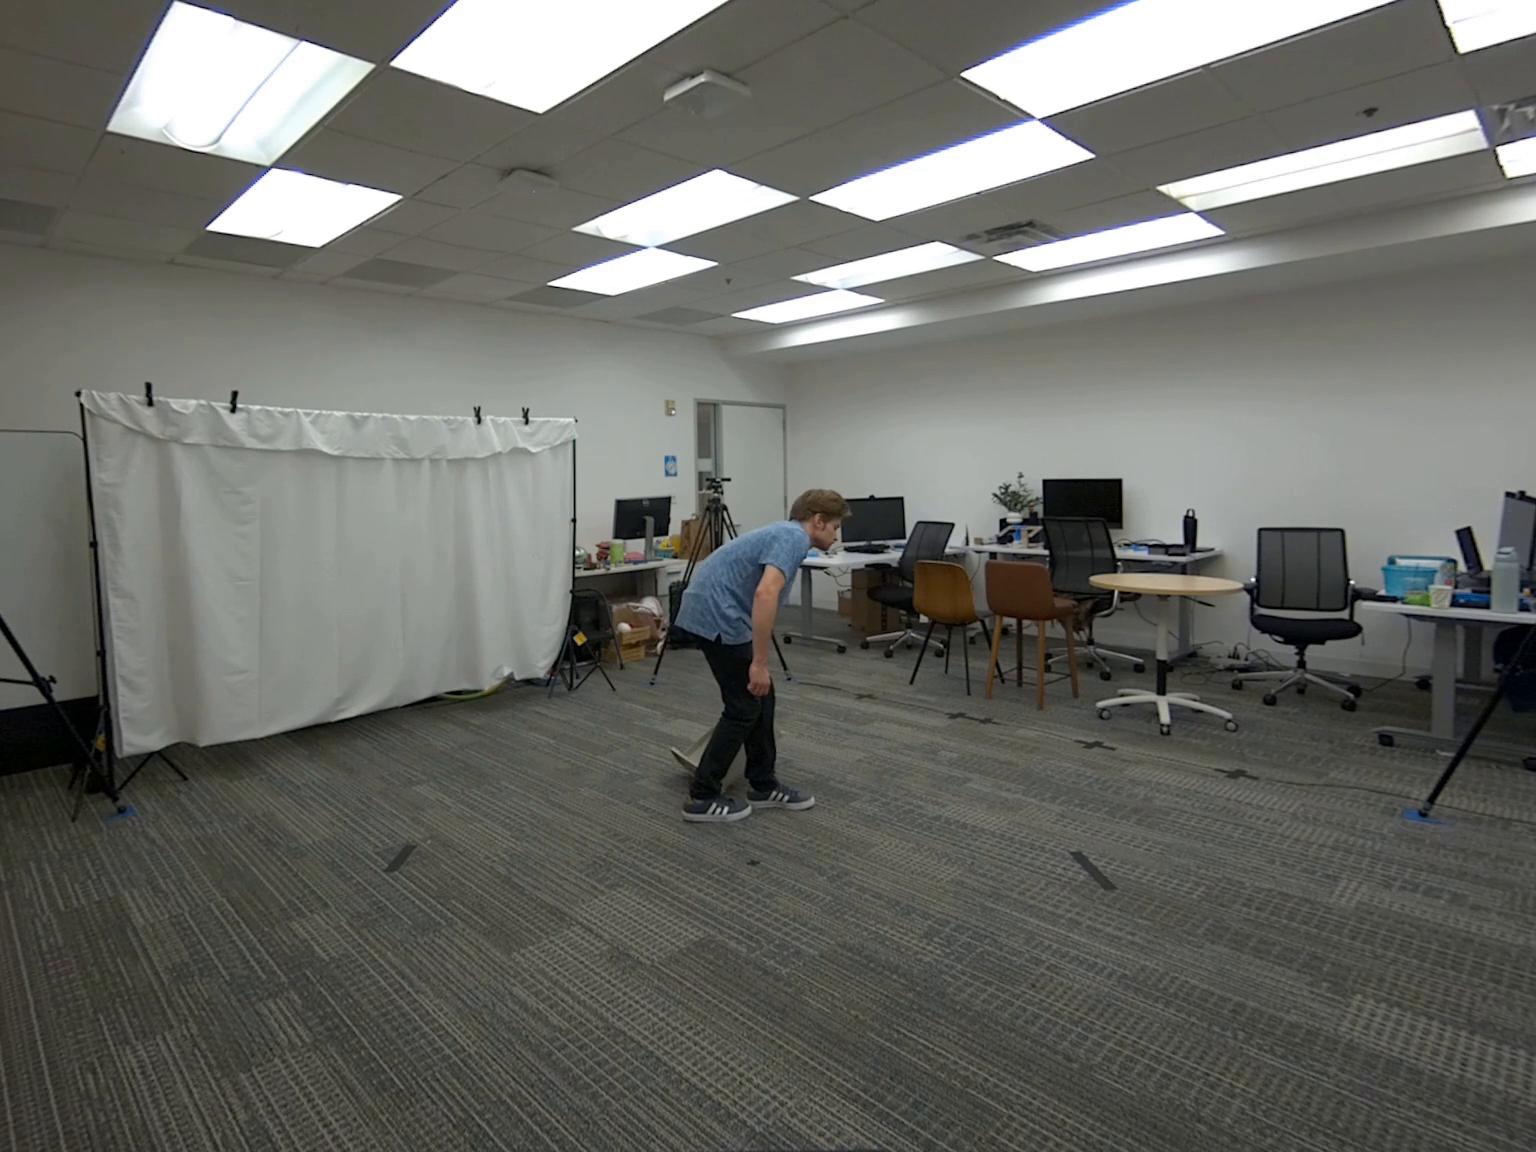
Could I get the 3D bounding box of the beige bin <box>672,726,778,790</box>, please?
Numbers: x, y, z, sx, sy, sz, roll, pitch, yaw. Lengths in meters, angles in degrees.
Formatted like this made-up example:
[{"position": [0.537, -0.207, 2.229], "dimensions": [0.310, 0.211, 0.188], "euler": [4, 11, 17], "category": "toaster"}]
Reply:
[{"position": [-0.194, 0.765, 3.965], "dimensions": [0.421, 0.184, 0.388], "euler": [-40, 22, -20], "category": "beige bin"}]
